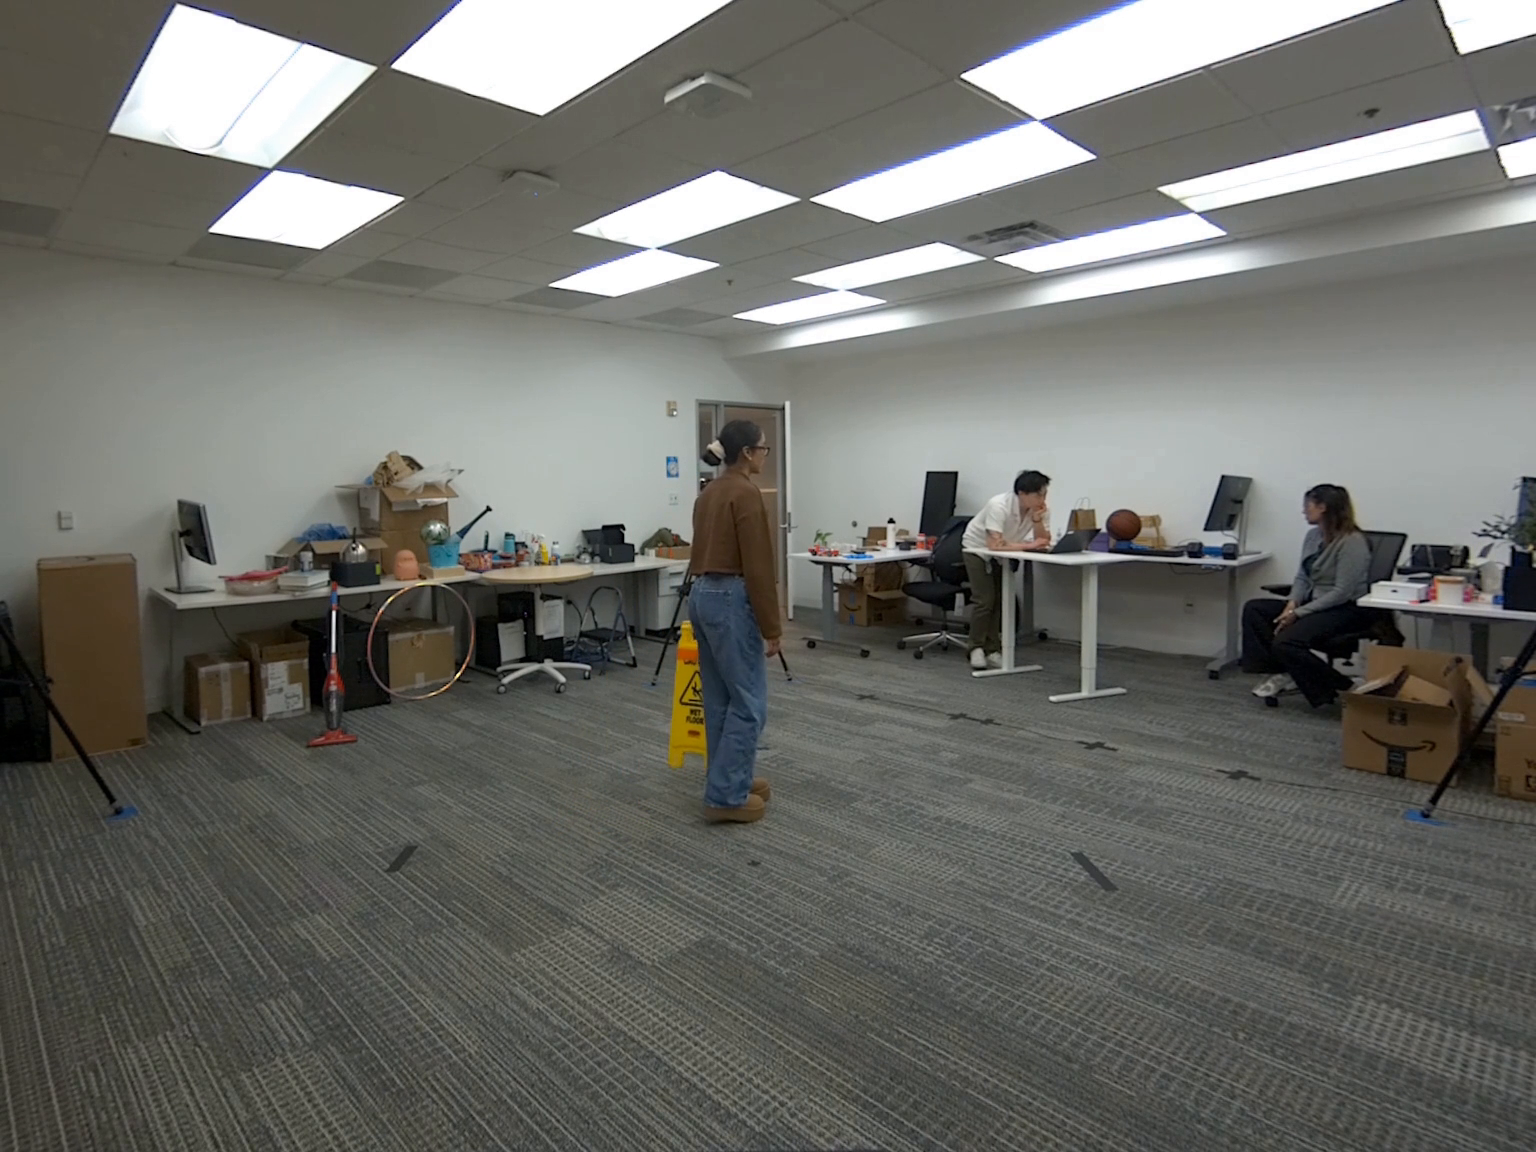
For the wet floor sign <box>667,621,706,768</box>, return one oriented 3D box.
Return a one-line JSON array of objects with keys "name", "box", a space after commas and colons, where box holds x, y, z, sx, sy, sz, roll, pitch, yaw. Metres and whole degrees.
[{"name": "wet floor sign", "box": [-0.297, 0.535, 3.926, 0.289, 0.642, 0.284, -1, 7, 29]}]
